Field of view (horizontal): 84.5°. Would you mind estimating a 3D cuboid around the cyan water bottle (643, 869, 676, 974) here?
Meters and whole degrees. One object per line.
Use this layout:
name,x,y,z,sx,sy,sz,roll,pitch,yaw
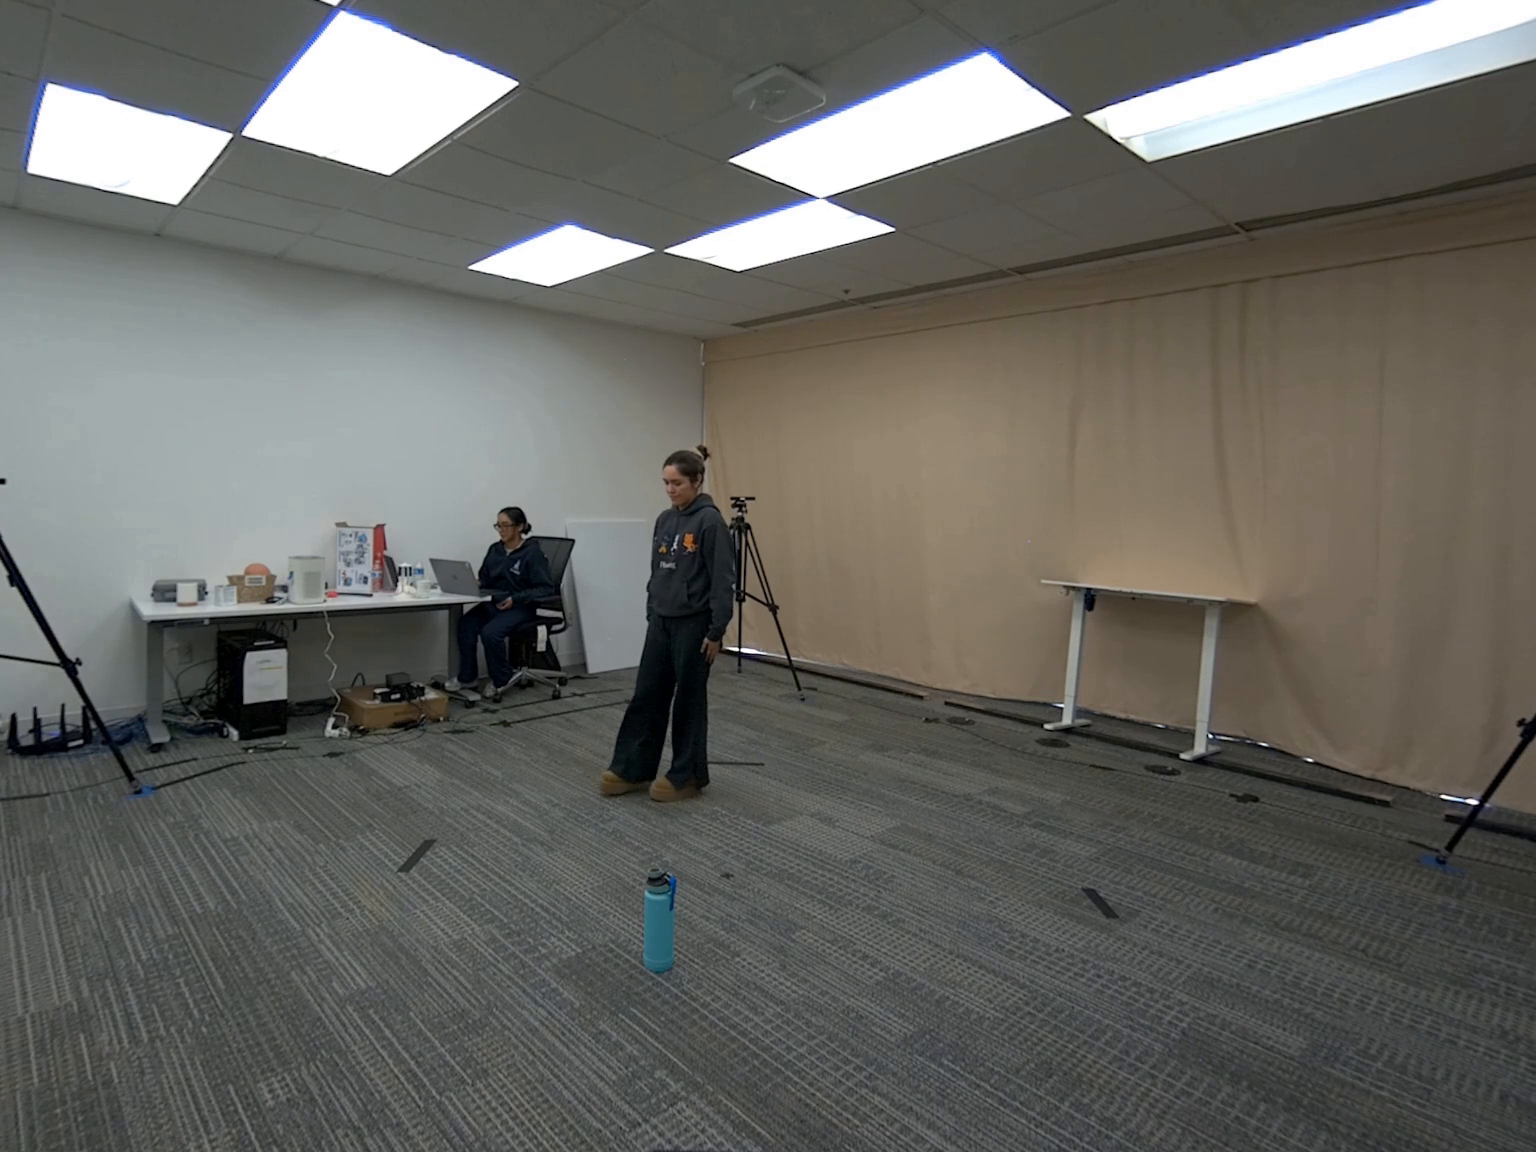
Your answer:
cyan water bottle,-0.324,1.021,2.506,0.092,0.283,0.092,3,3,-2
